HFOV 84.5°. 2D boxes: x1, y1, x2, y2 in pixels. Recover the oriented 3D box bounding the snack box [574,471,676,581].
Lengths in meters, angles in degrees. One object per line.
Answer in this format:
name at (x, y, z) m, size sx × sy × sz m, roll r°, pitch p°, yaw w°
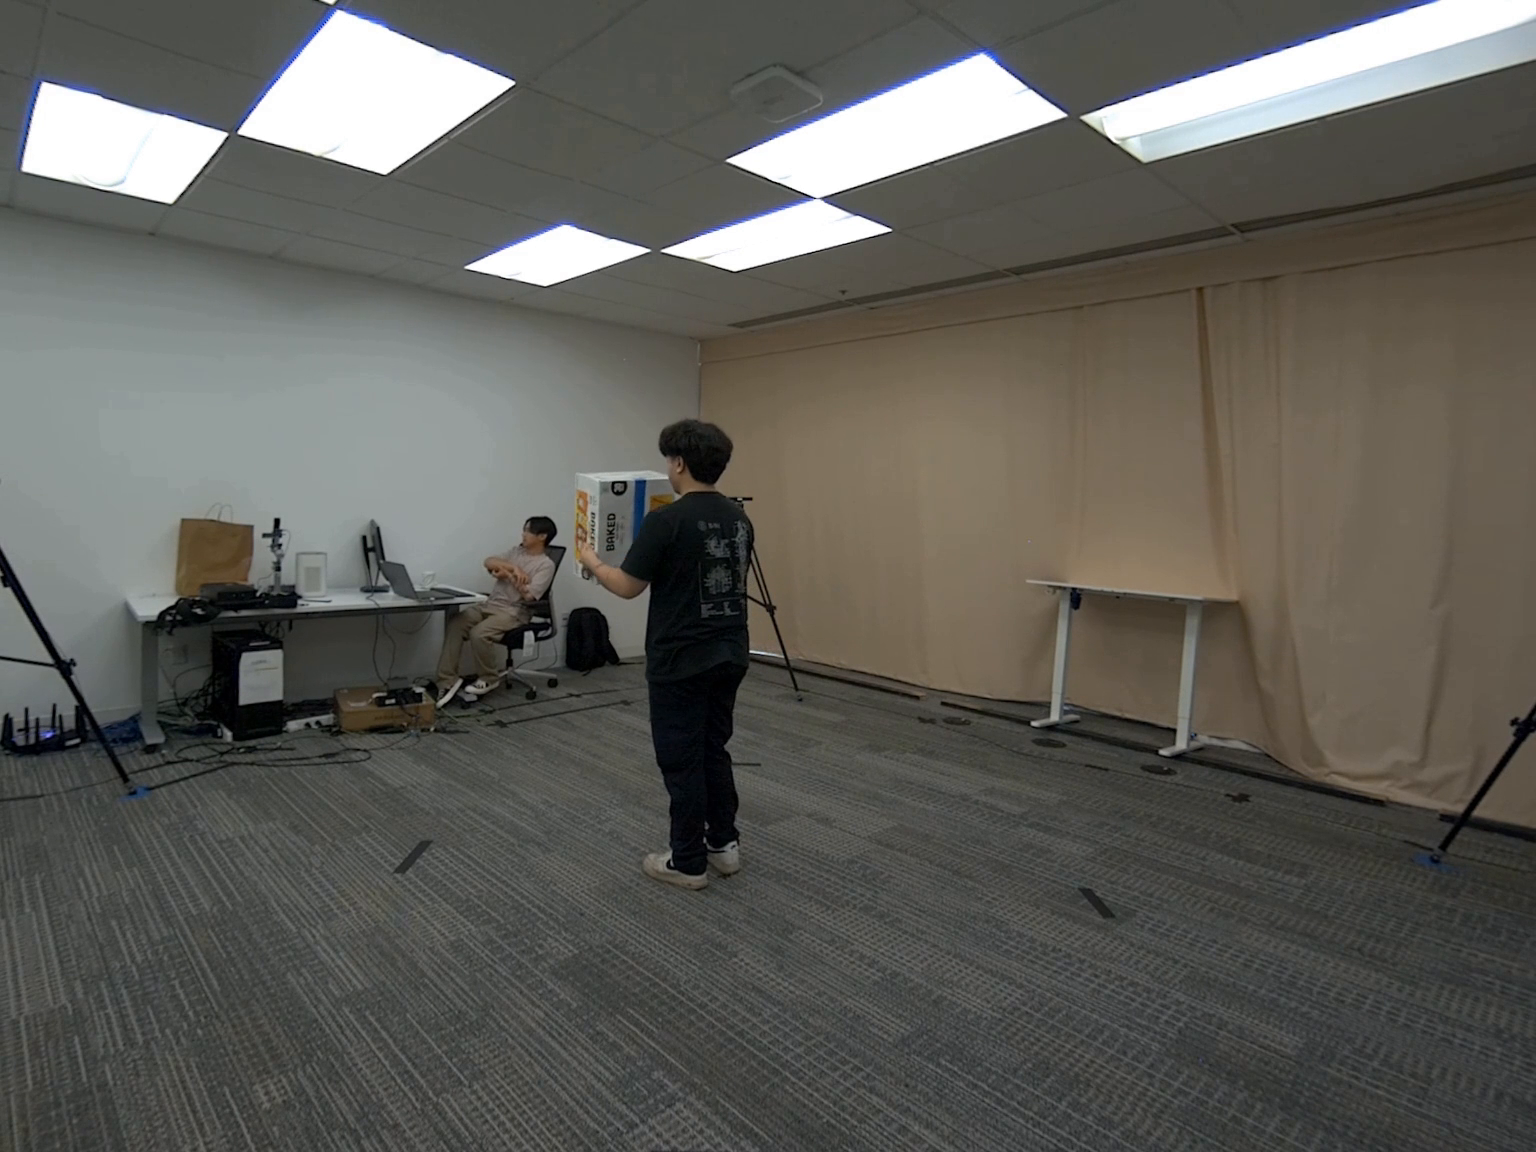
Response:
snack box at (-0.569, -0.196, 3.331) m, size 0.333 × 0.402 × 0.212 m, roll -7°, pitch 16°, yaw -38°
